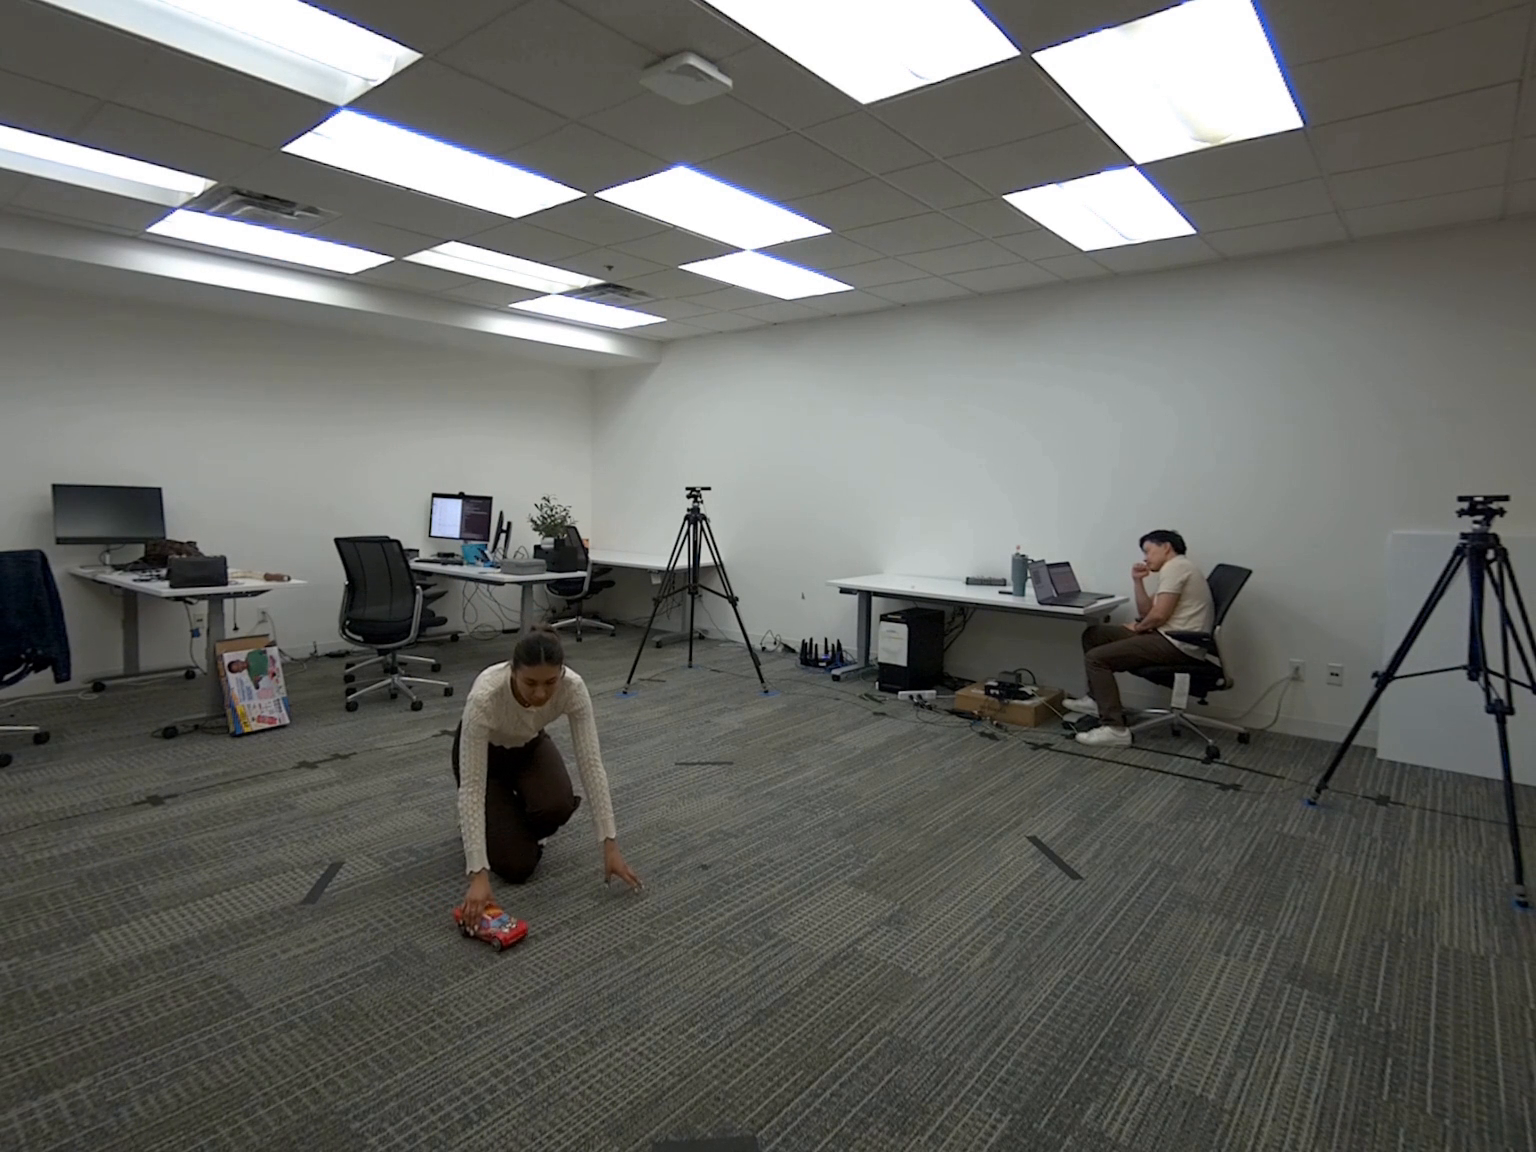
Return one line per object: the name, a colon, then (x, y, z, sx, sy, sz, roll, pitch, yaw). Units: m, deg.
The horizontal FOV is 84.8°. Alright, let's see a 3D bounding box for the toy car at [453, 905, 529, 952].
toy car: (-0.877, 1.075, 2.628, 0.263, 0.082, 0.127, 16, 13, 31)
